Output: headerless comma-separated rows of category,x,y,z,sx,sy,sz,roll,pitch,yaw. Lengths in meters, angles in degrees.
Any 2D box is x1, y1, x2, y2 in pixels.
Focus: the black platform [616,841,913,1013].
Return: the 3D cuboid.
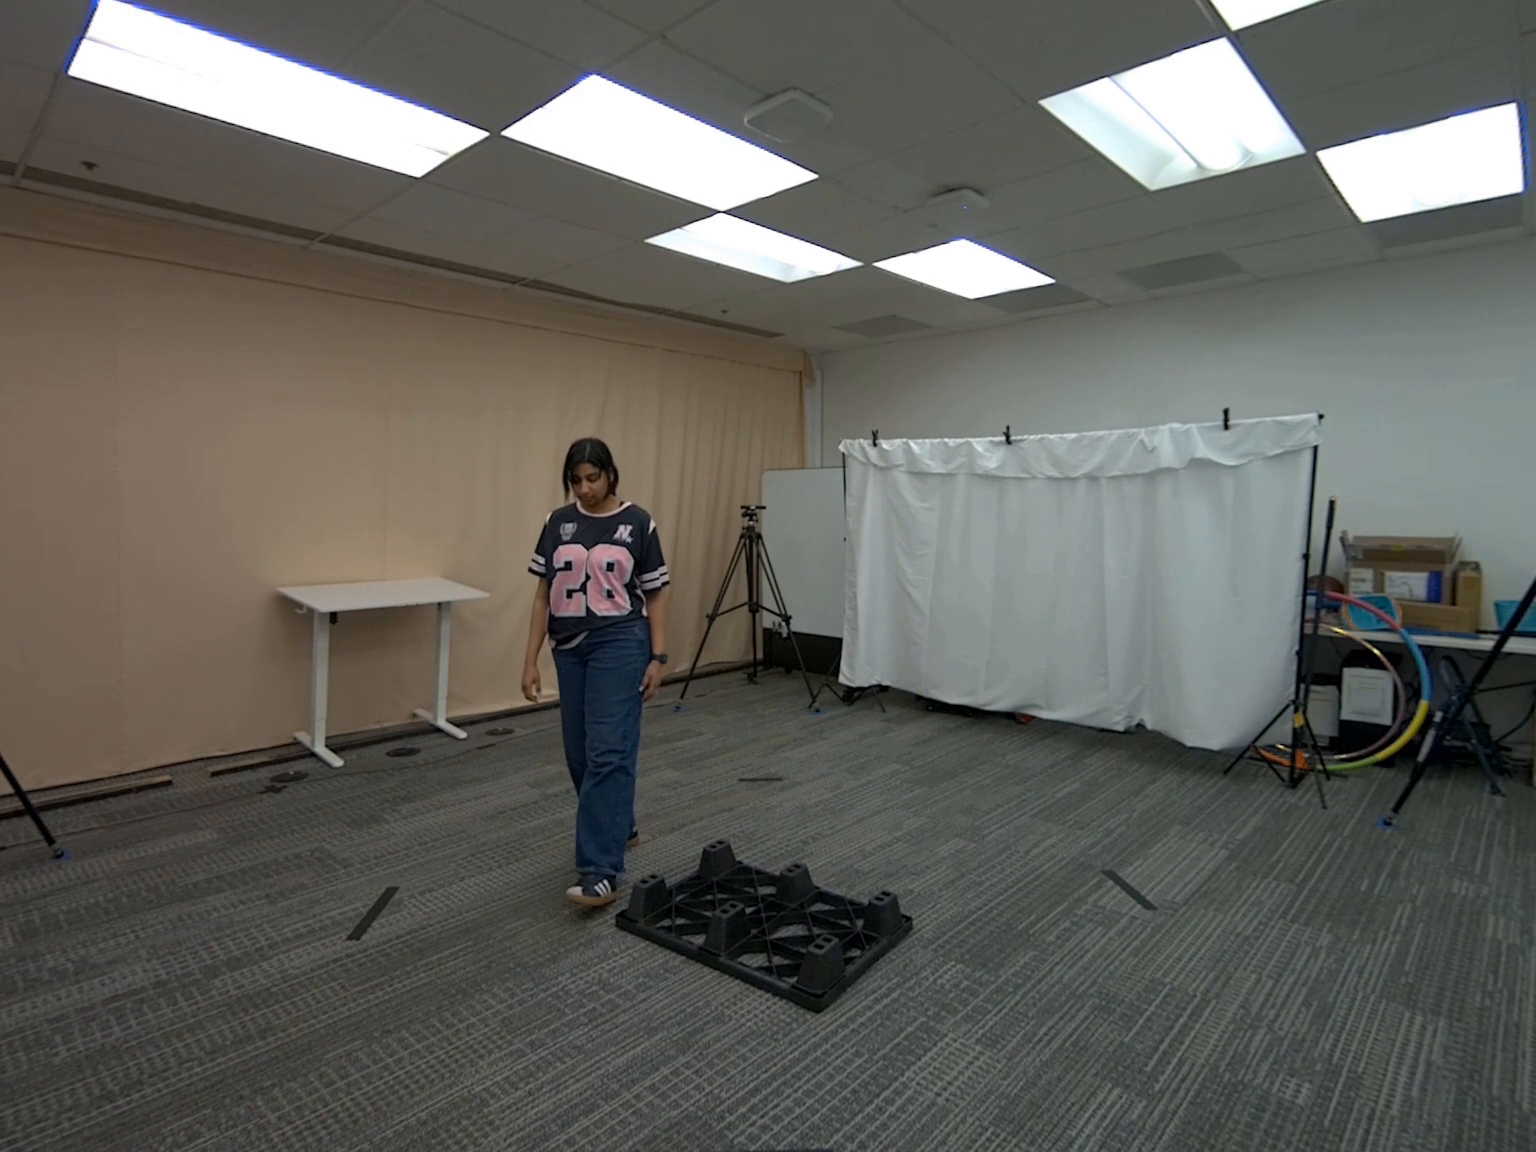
black platform,-0.017,1.096,2.773,0.831,0.143,0.587,3,5,37
